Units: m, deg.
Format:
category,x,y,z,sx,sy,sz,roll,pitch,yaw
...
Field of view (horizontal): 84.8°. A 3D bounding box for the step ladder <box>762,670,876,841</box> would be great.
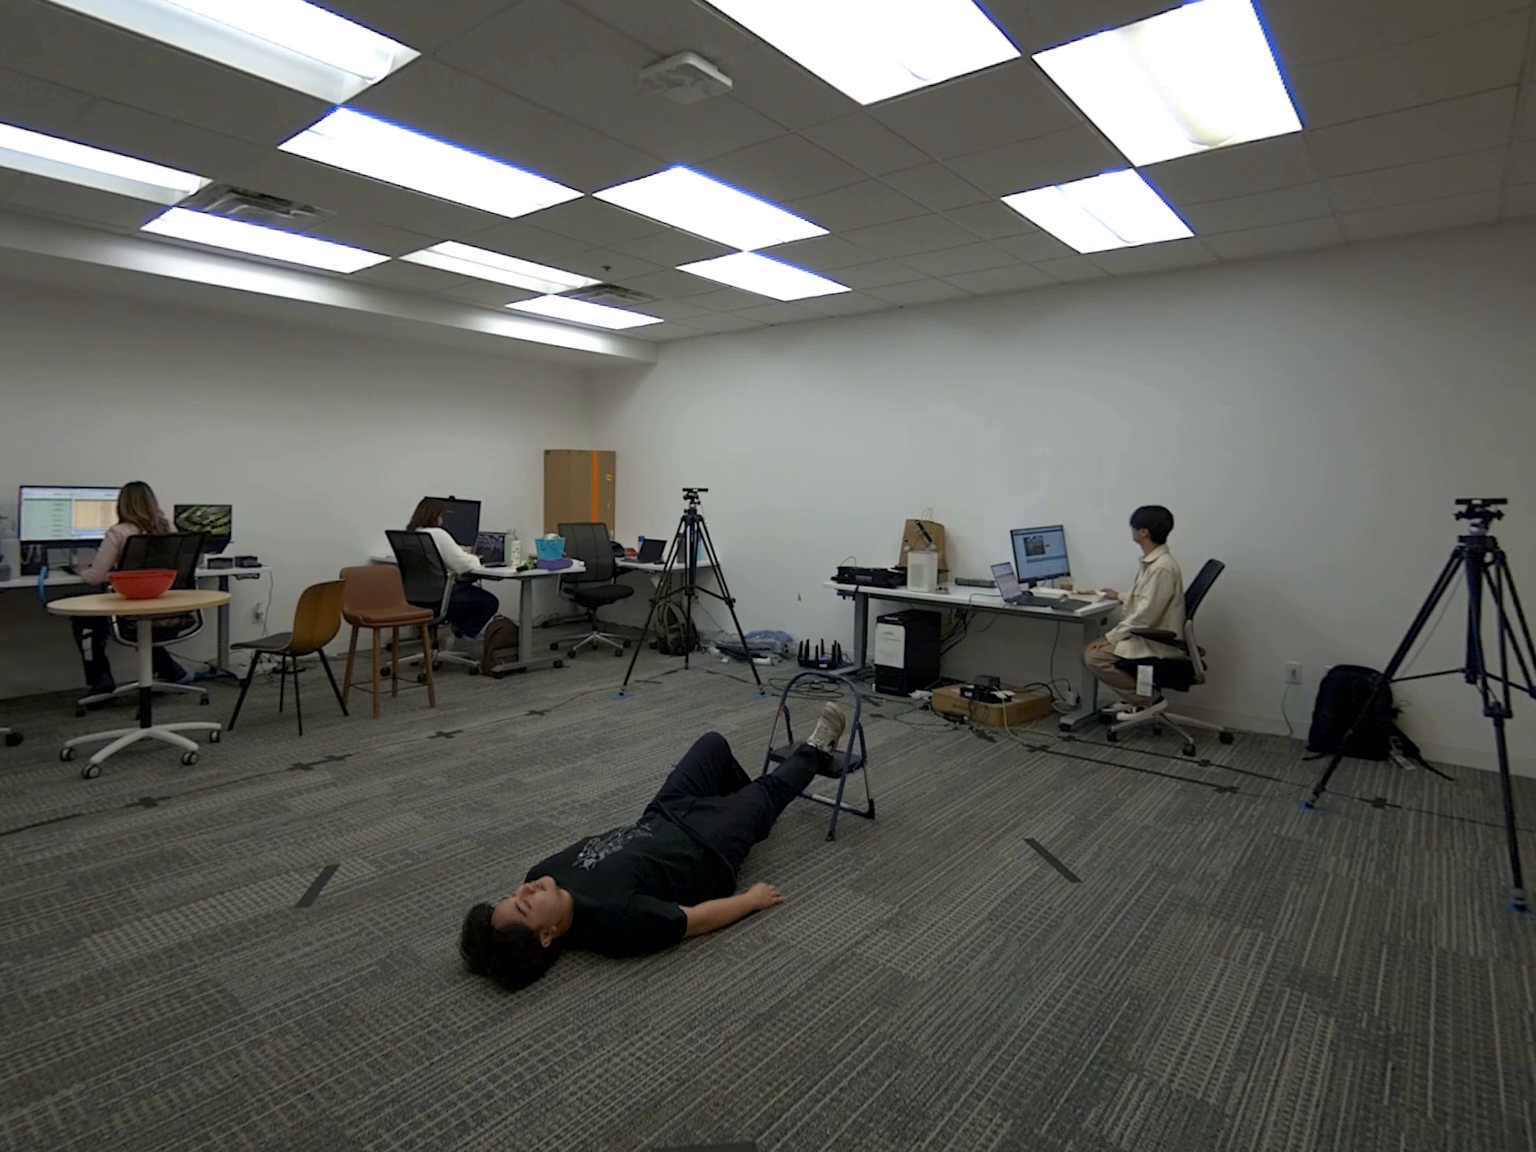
category,x,y,z,sx,sy,sz,roll,pitch,yaw
step ladder,0.197,0.727,3.641,0.445,0.604,0.339,5,5,40
